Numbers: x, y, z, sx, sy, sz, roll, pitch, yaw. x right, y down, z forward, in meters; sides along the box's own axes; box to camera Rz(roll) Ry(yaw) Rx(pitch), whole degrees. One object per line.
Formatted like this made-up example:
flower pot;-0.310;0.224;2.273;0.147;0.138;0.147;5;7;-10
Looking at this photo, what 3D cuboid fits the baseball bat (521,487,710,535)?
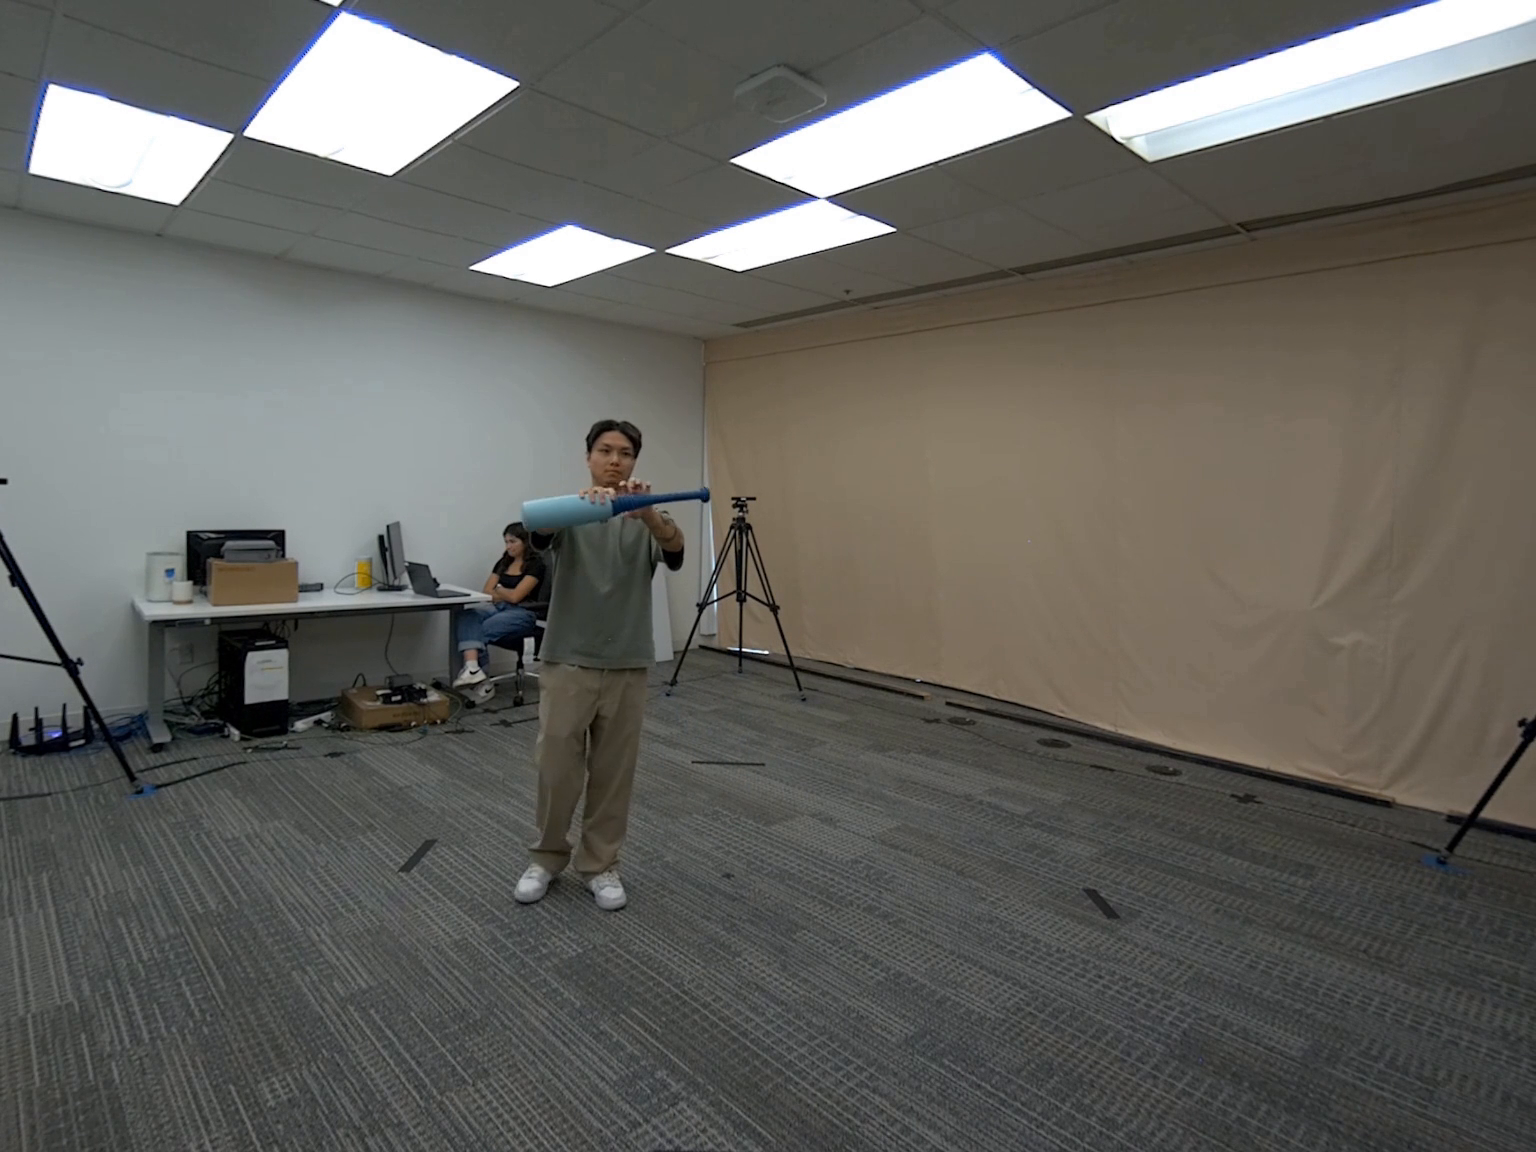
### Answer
baseball bat;-0.441;-0.204;2.412;0.538;0.088;0.090;-9;7;-13
